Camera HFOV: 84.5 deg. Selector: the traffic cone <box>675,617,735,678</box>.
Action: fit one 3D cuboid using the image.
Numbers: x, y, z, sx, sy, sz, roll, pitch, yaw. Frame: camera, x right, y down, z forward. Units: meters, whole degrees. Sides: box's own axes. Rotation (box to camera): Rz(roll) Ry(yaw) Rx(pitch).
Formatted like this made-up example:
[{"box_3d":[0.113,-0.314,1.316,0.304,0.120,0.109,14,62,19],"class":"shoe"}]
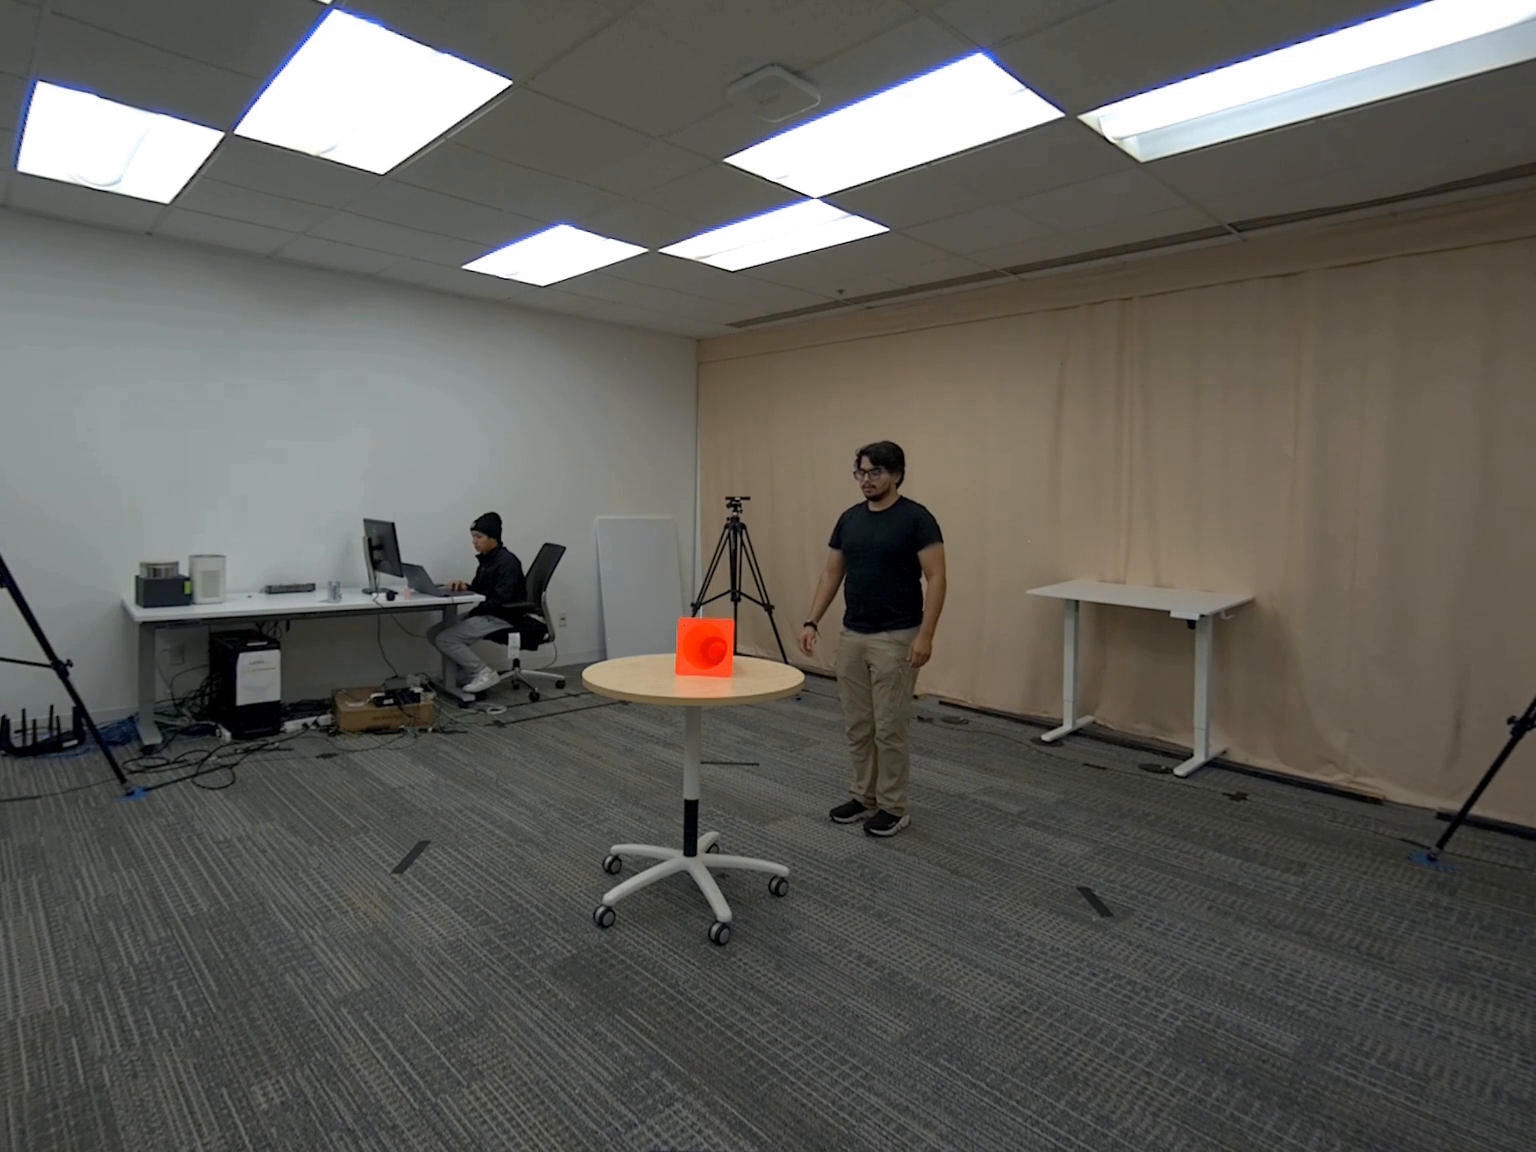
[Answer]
[{"box_3d":[-0.211,0.284,3.071,0.205,0.205,0.379,-7,-11,0],"class":"traffic cone"}]
